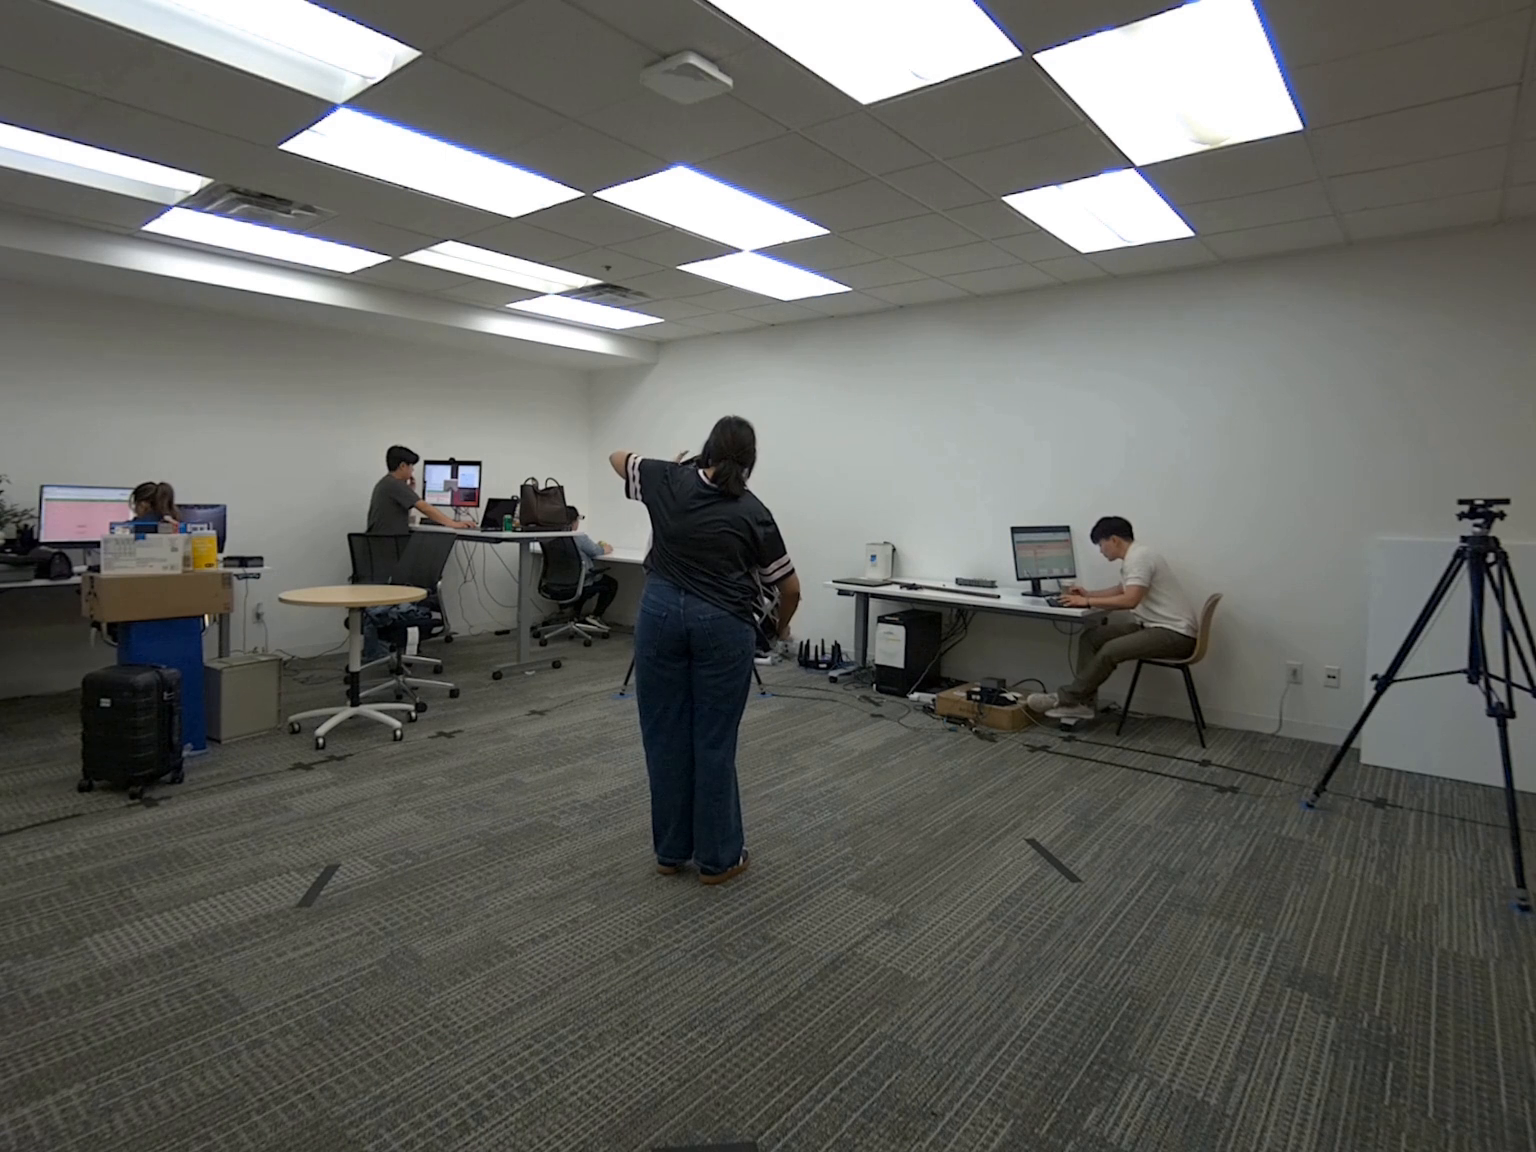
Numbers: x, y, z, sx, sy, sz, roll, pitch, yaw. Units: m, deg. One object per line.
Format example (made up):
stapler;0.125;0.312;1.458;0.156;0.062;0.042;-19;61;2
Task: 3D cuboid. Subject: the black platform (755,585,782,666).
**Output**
black platform;-0.191;-0.104;3.501;0.144;0.802;0.603;-30;4;18
